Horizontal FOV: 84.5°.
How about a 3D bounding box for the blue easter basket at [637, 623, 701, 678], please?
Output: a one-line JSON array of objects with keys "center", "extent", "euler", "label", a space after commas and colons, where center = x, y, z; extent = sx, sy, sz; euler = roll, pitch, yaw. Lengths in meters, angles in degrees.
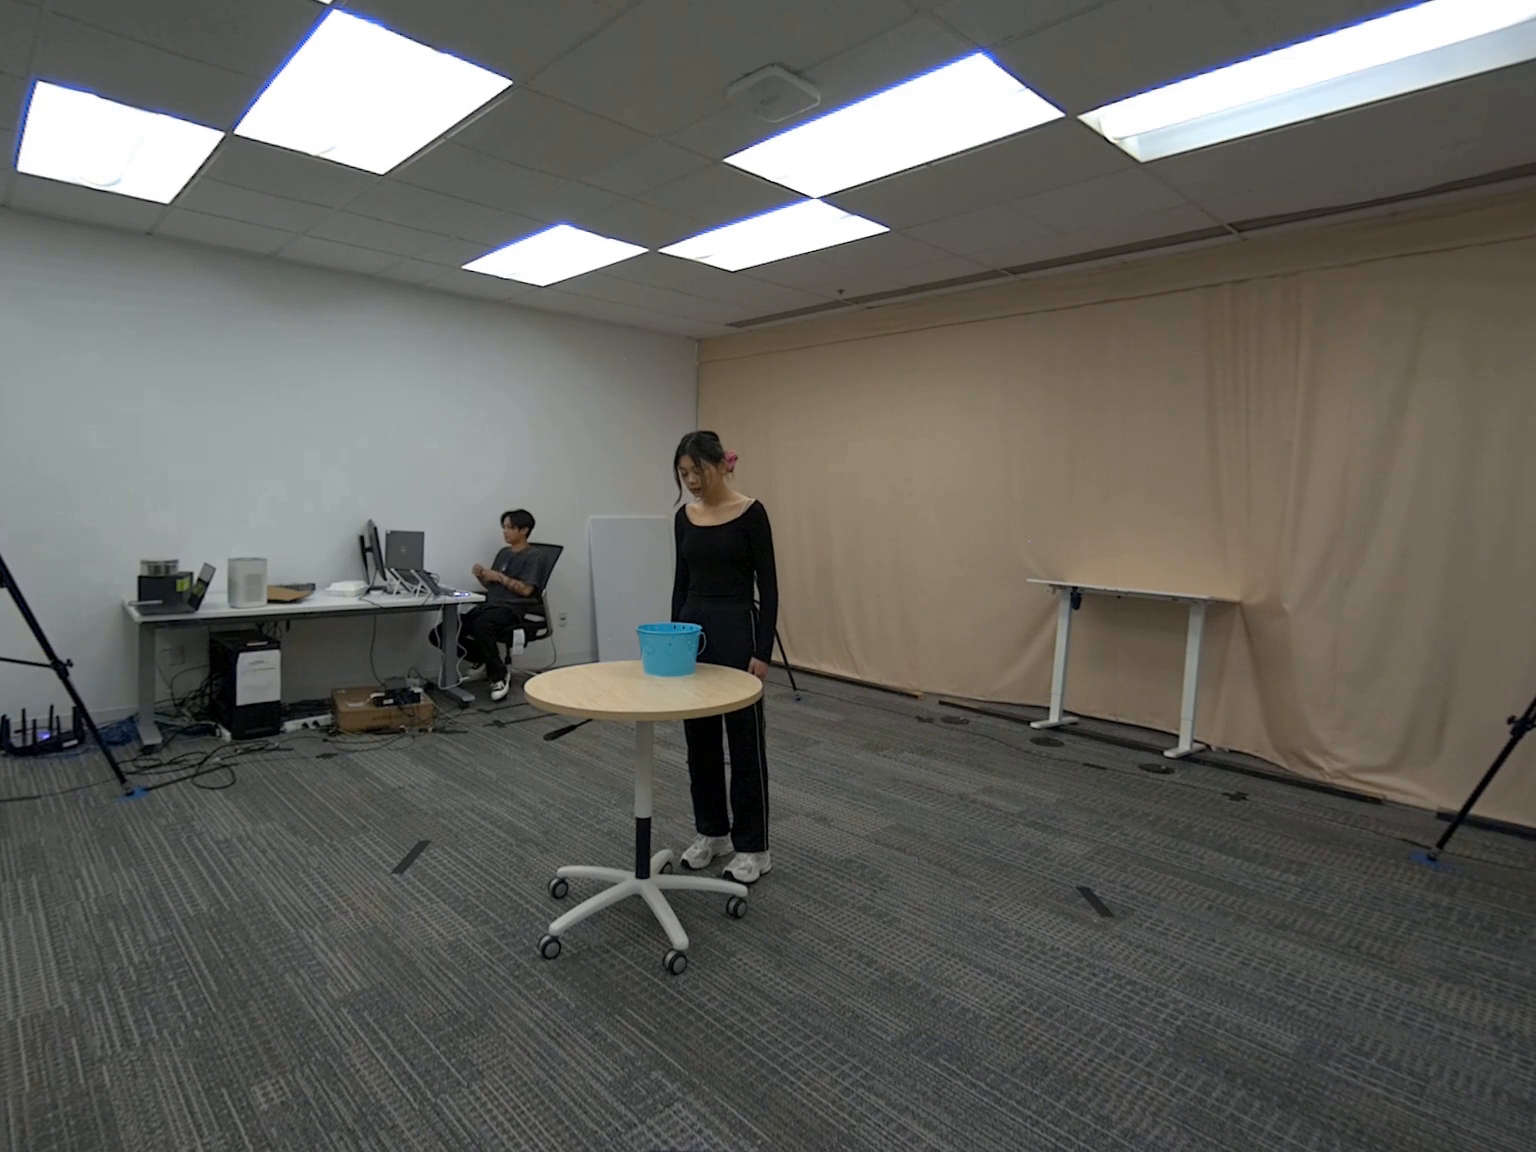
[{"center": [-0.358, 0.256, 2.938], "extent": [0.243, 0.155, 0.244], "euler": [1, 5, -1], "label": "blue easter basket"}]
